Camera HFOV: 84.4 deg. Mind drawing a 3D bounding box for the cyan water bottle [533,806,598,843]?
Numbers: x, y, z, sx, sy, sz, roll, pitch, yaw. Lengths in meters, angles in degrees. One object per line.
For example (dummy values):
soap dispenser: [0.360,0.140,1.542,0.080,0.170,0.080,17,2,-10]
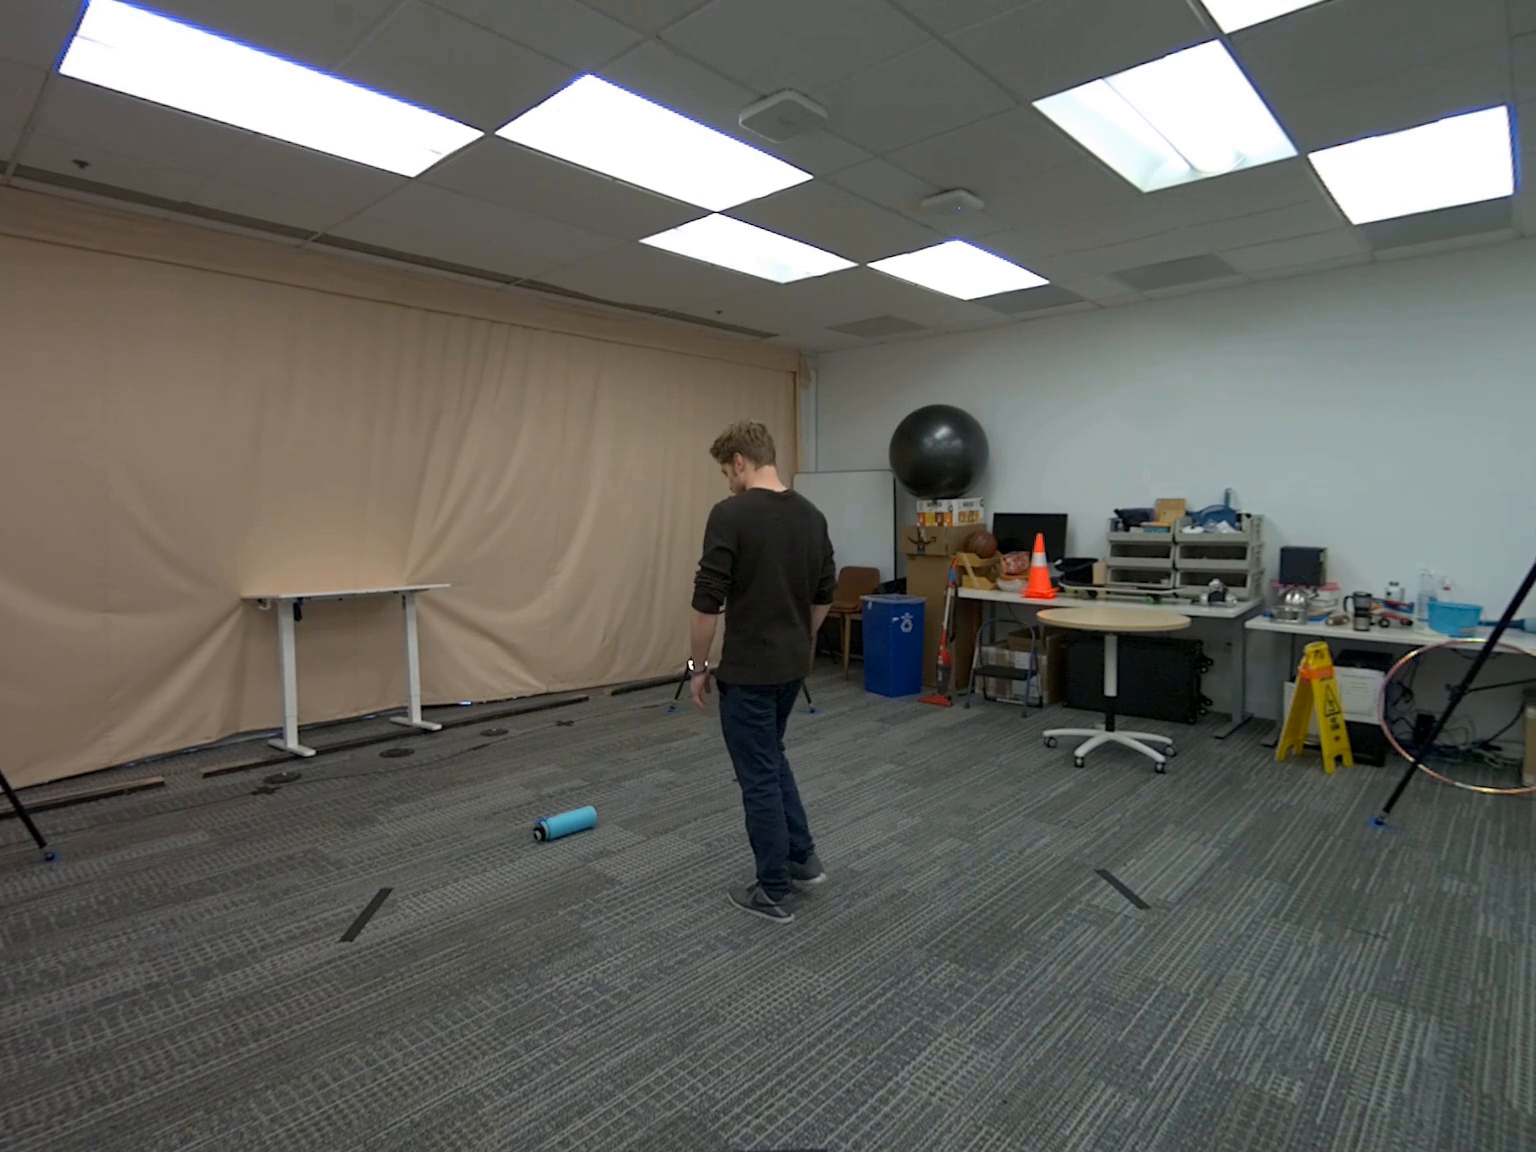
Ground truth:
cyan water bottle: [-0.871,1.055,3.589,0.275,0.092,0.095,-5,6,-42]
